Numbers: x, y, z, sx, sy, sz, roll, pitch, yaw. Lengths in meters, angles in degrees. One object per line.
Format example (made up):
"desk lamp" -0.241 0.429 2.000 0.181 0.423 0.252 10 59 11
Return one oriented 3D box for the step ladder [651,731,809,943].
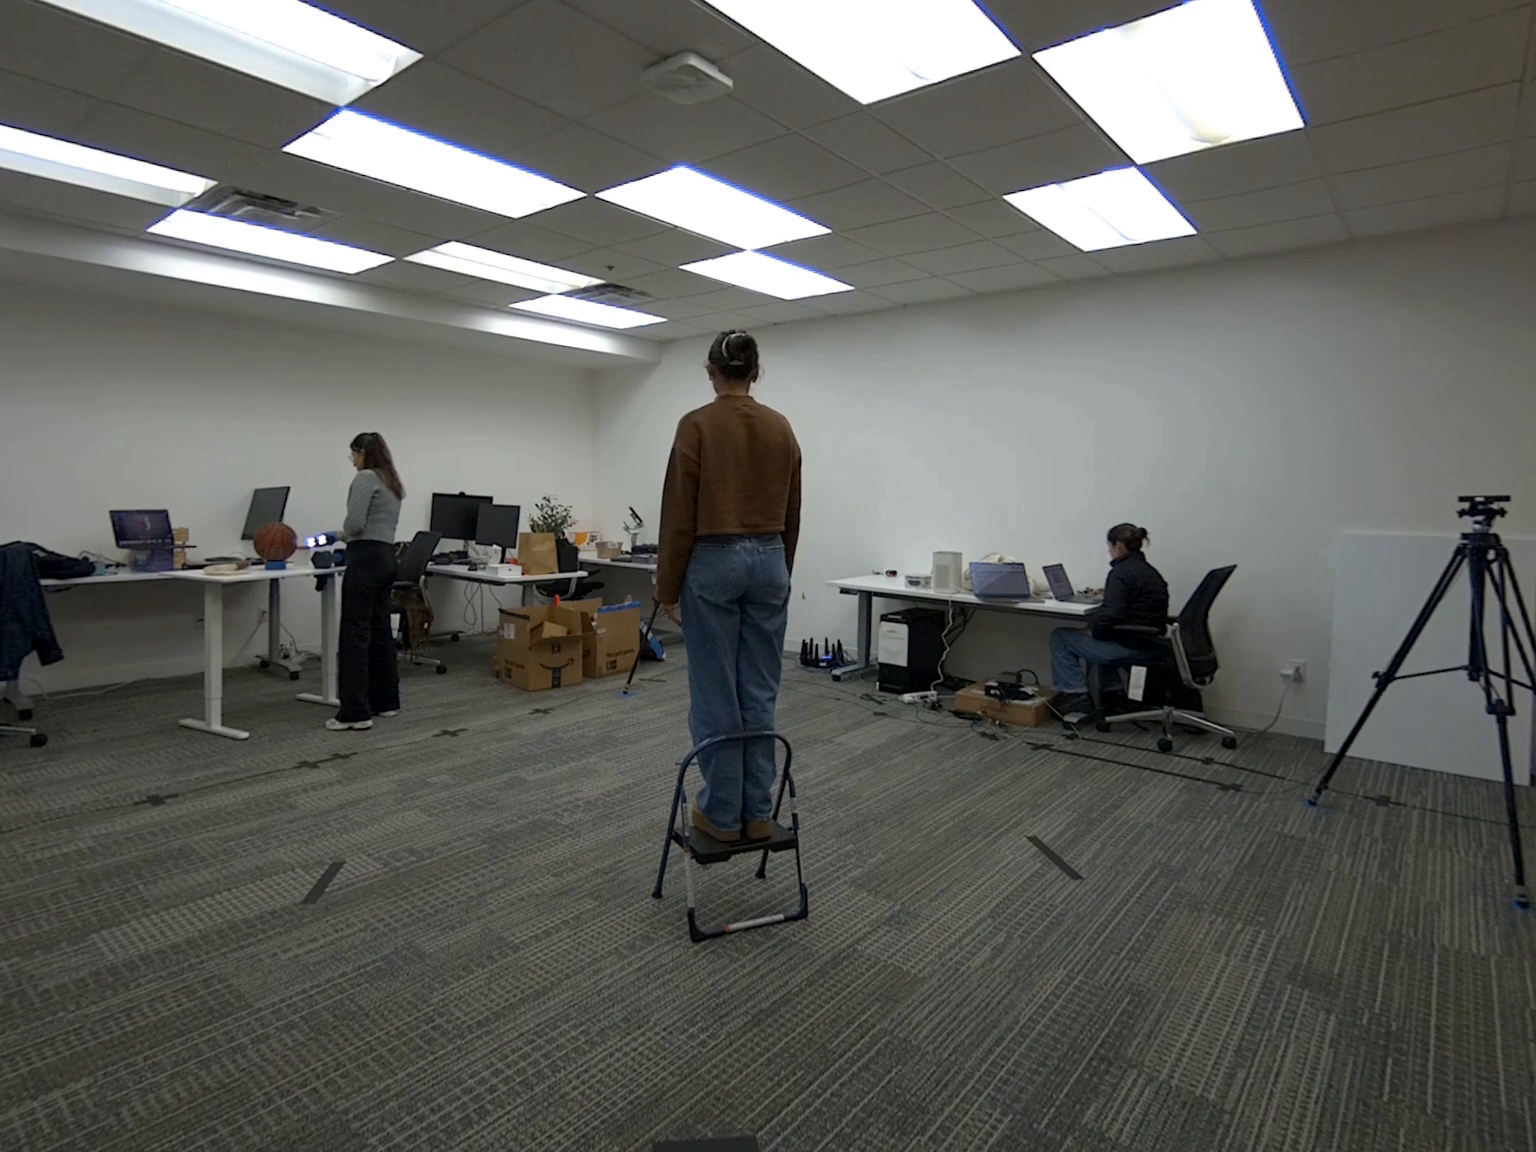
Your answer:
"step ladder" -0.130 0.799 2.811 0.420 0.604 0.359 -1 4 -27
